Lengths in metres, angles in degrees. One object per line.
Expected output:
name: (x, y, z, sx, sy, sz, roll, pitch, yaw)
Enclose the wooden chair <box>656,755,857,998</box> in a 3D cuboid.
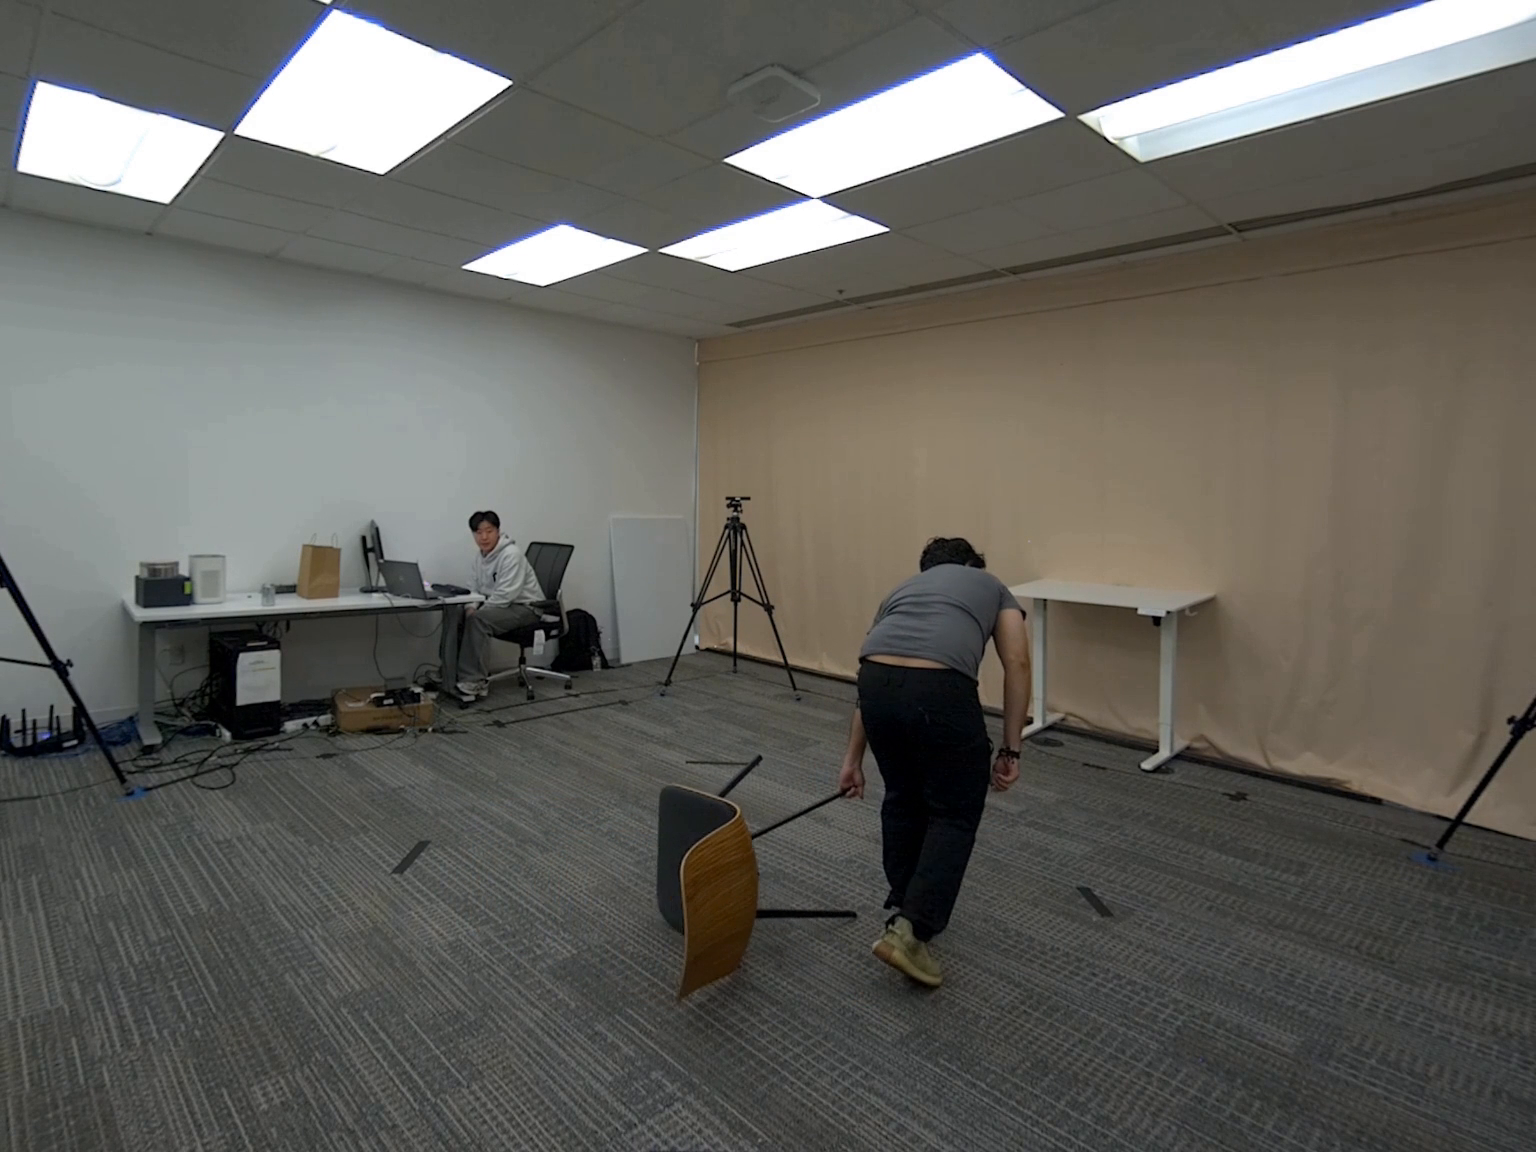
wooden chair: (-0.158, 0.915, 2.644, 0.536, 0.477, 0.858, 4, 5, 38)
